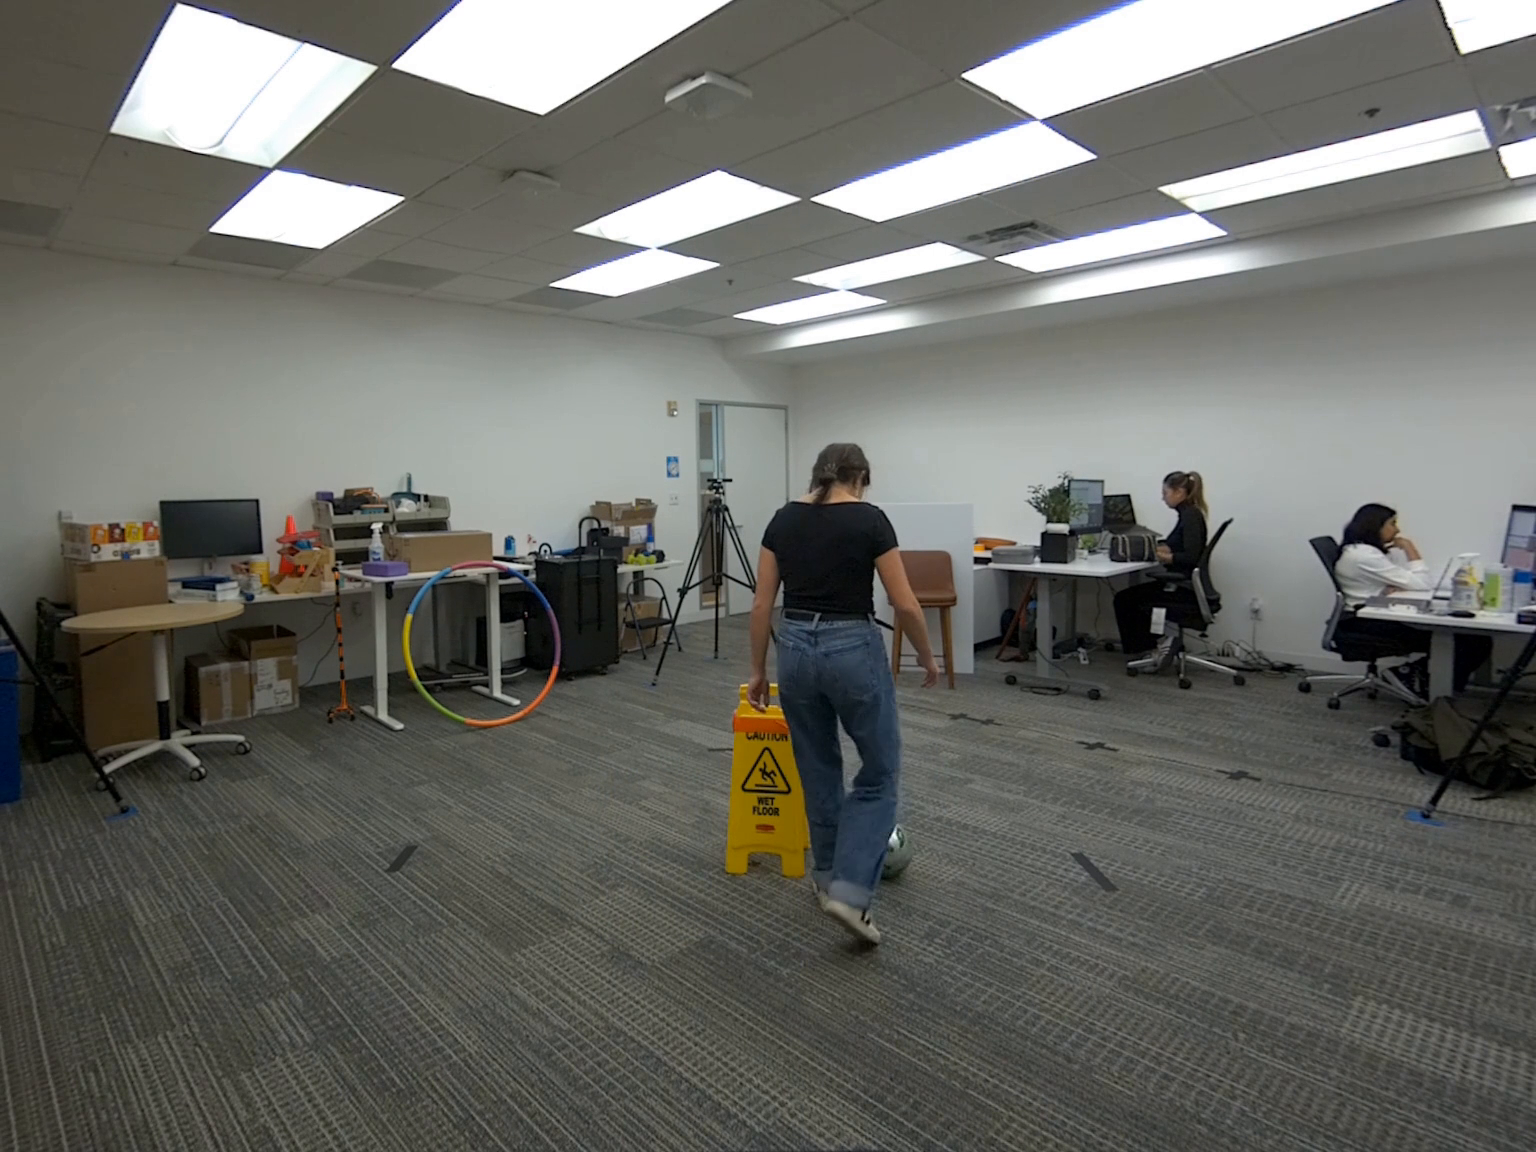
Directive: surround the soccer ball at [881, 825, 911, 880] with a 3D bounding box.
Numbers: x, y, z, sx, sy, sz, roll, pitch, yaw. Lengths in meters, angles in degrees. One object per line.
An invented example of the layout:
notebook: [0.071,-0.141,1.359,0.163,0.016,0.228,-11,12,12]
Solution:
soccer ball: [0.418,0.956,2.990,0.187,0.187,0.188,-1,5,-2]
